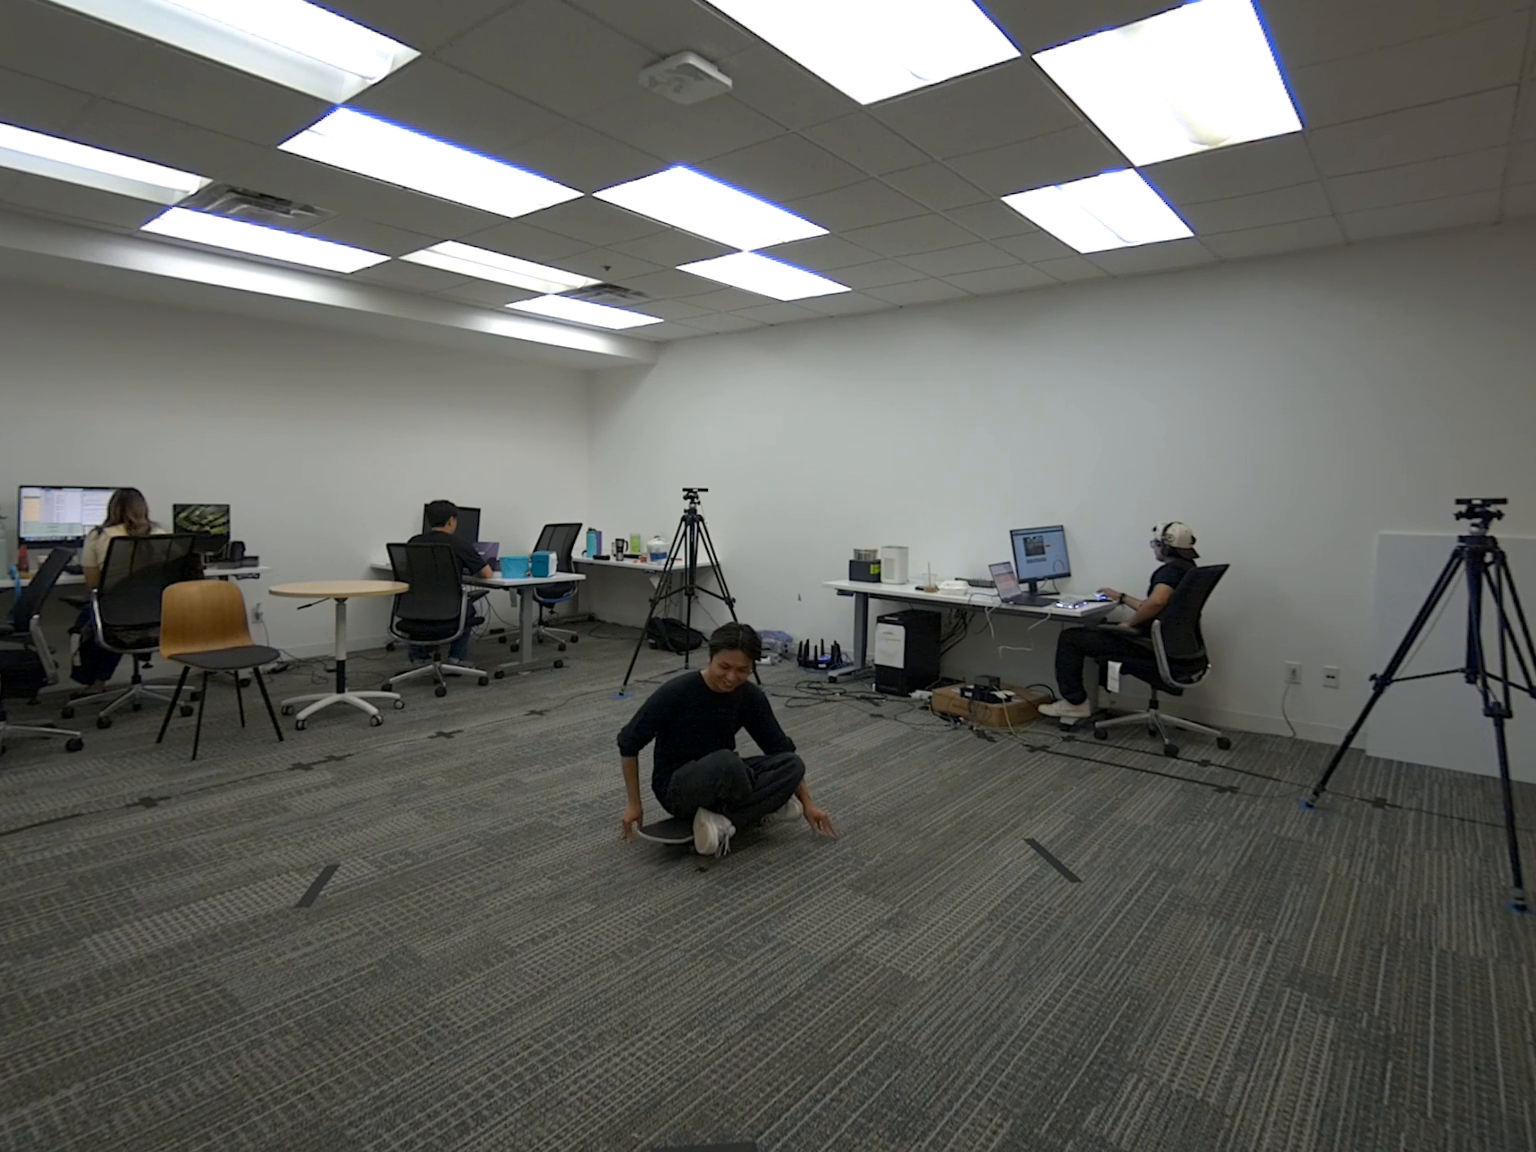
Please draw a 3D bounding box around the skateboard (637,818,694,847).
[{"bbox_3d":[-0.204,0.994,3.432,0.200,0.110,0.763,6,7,39],"label":"skateboard"}]
